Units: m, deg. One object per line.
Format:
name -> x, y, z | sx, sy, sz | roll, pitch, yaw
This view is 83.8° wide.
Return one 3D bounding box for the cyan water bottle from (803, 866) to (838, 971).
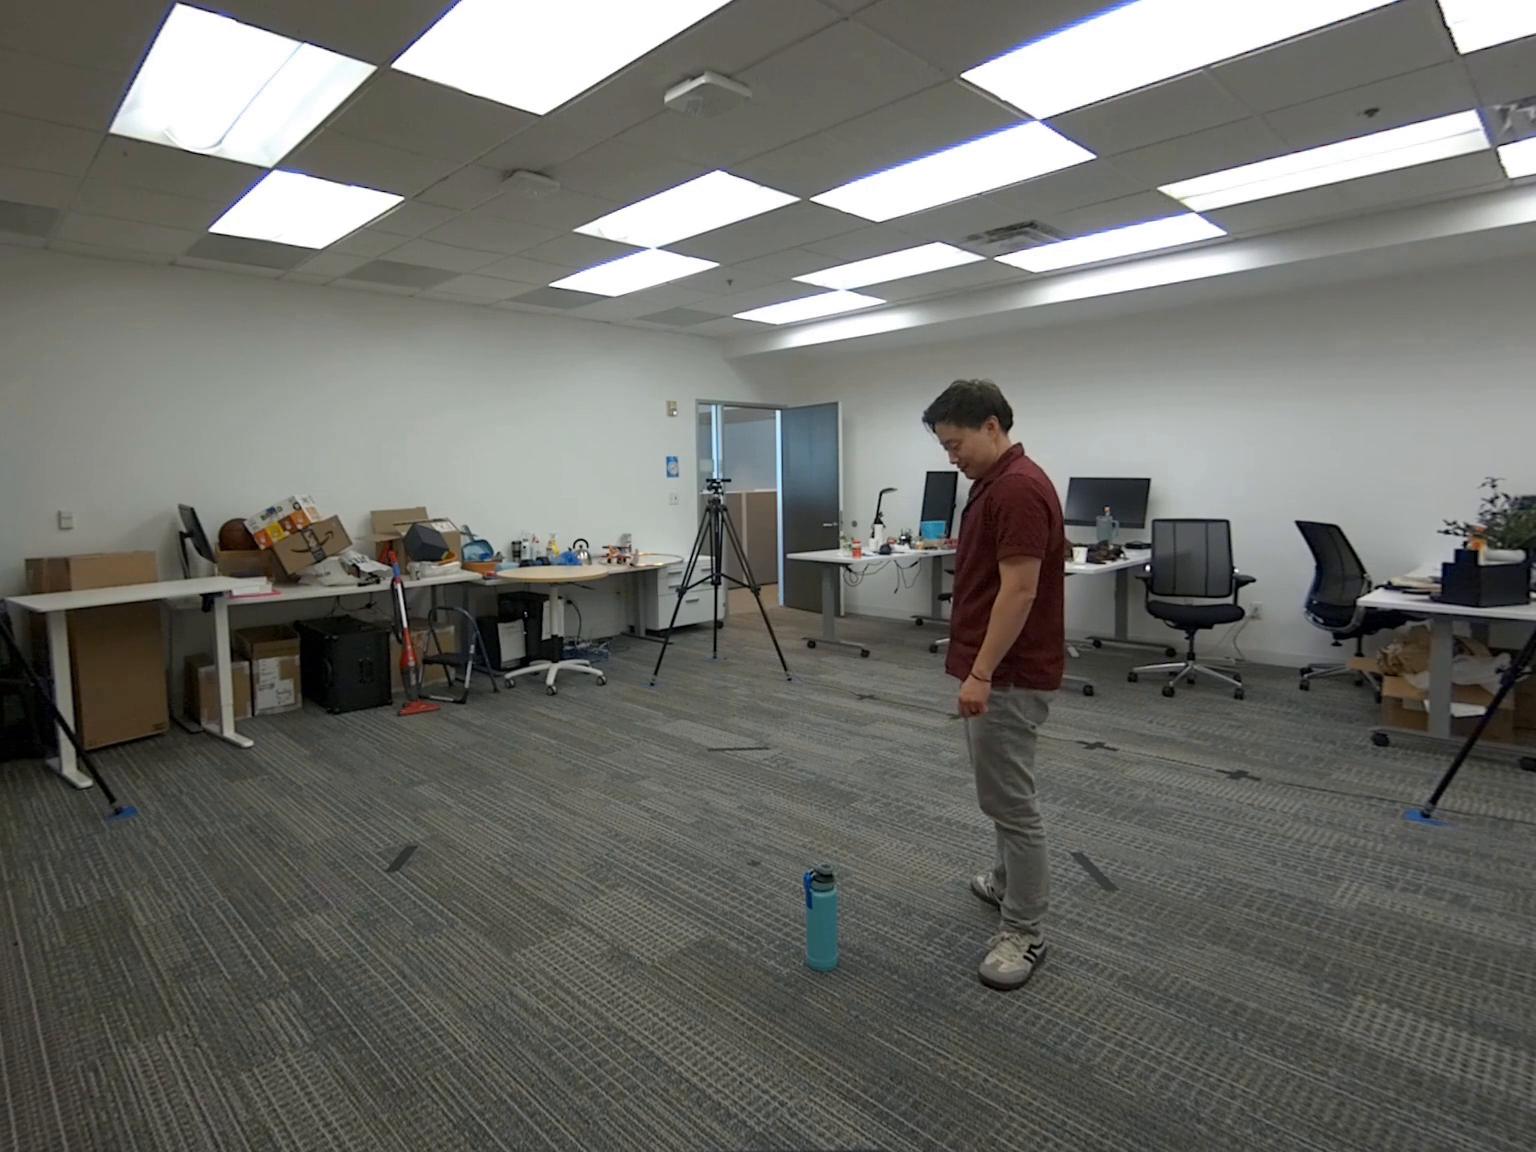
cyan water bottle -> 0.166, 0.979, 2.446 | 0.092, 0.282, 0.093 | -2, 4, -1
